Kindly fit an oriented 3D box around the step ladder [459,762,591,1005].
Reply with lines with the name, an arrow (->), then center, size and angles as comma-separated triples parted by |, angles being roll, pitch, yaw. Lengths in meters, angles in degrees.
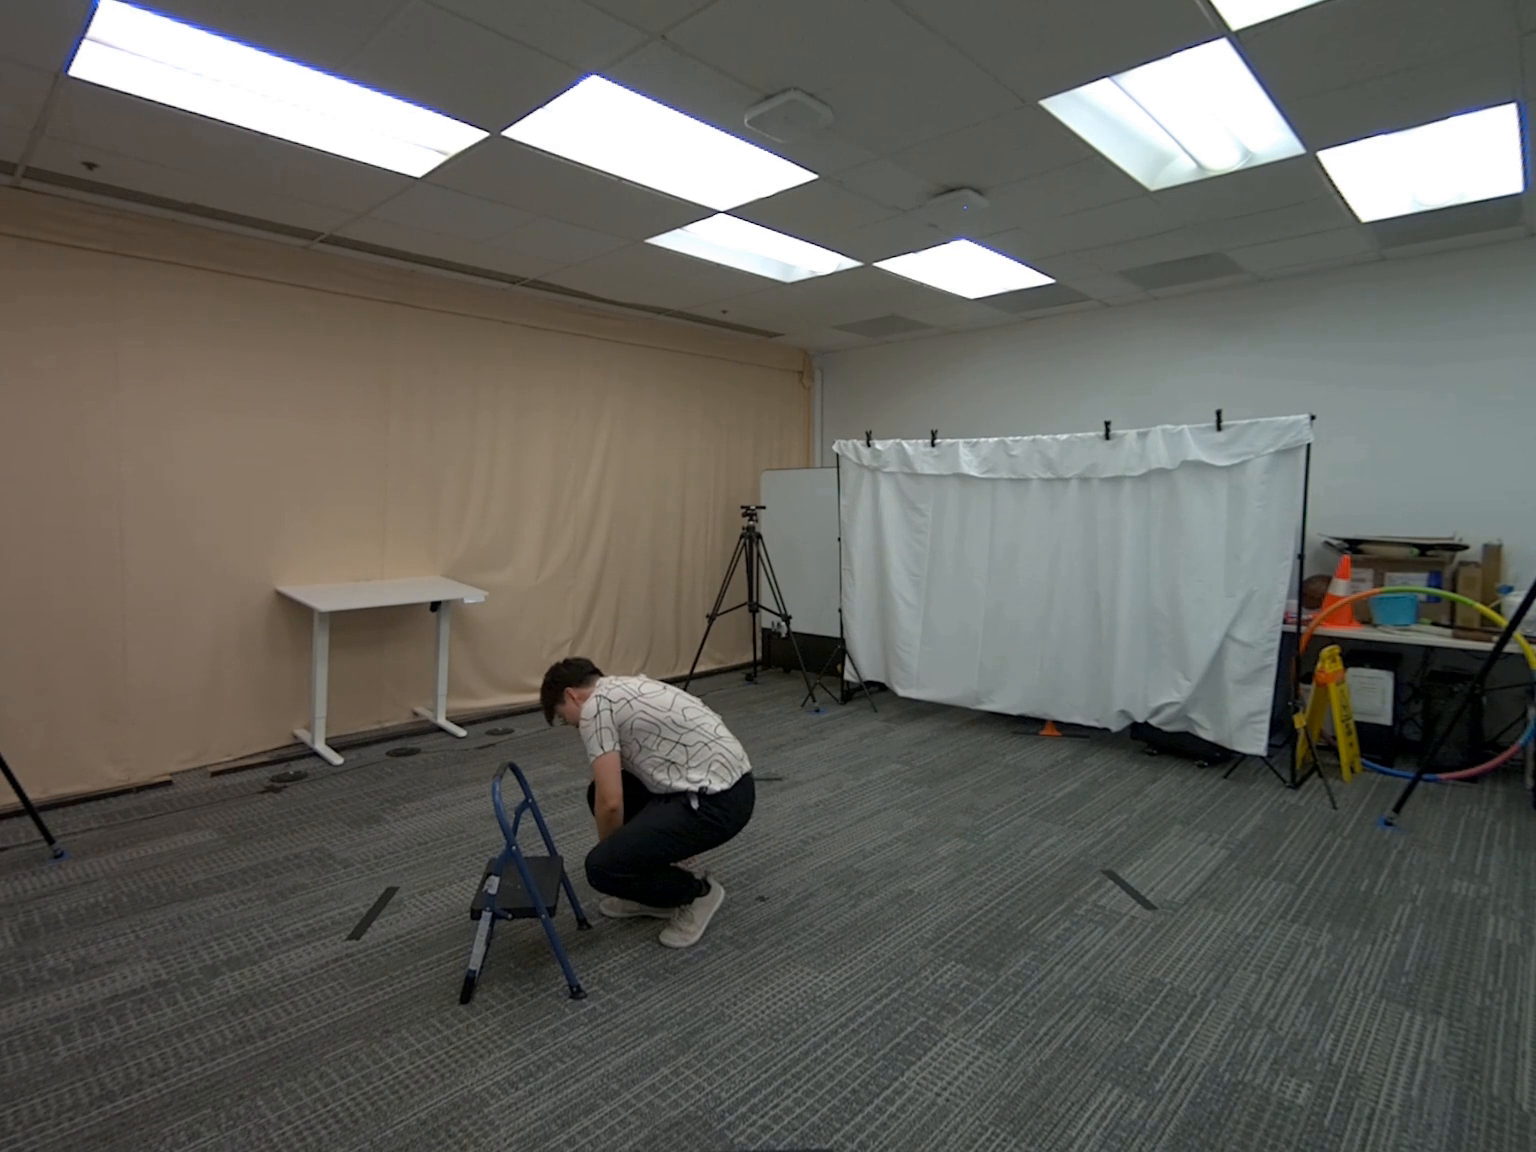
step ladder -> -0.730, 0.886, 2.554 | 0.346, 0.605, 0.435 | 0, 3, -9
